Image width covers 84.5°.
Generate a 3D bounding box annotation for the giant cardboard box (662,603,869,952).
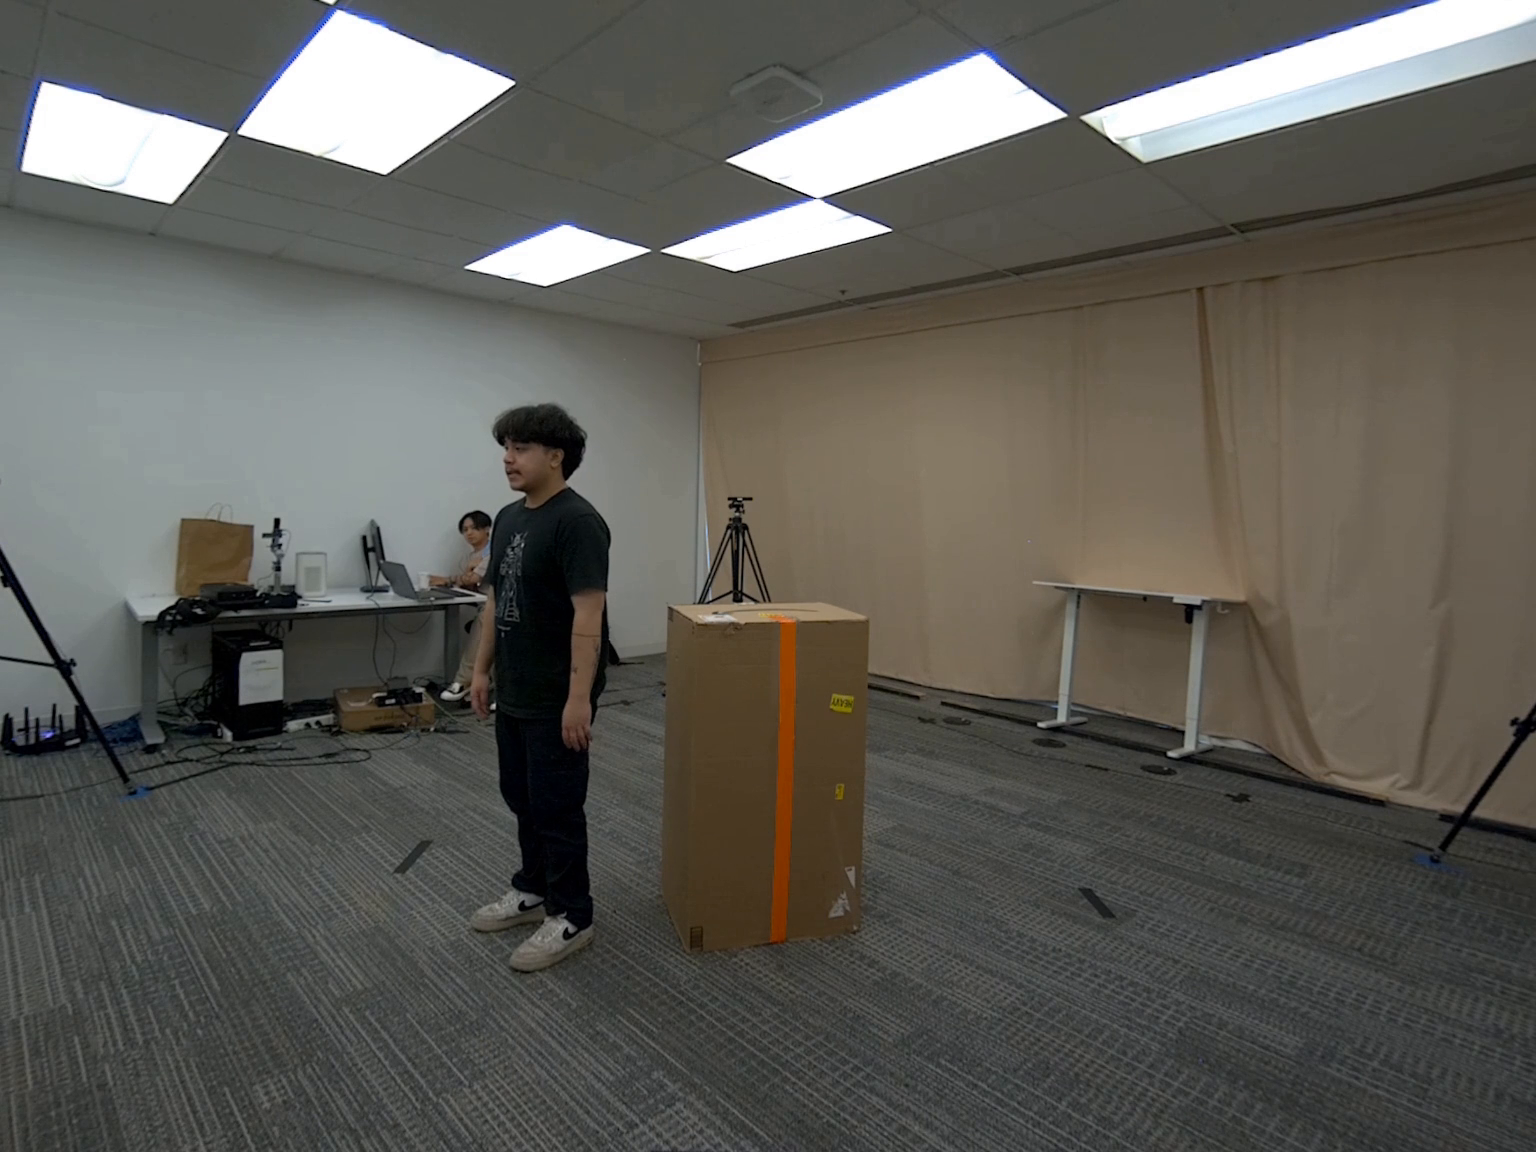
[{"bbox_3d":[-0.030,0.625,2.815,0.576,1.024,0.454,0,4,-17],"label":"giant cardboard box"}]
